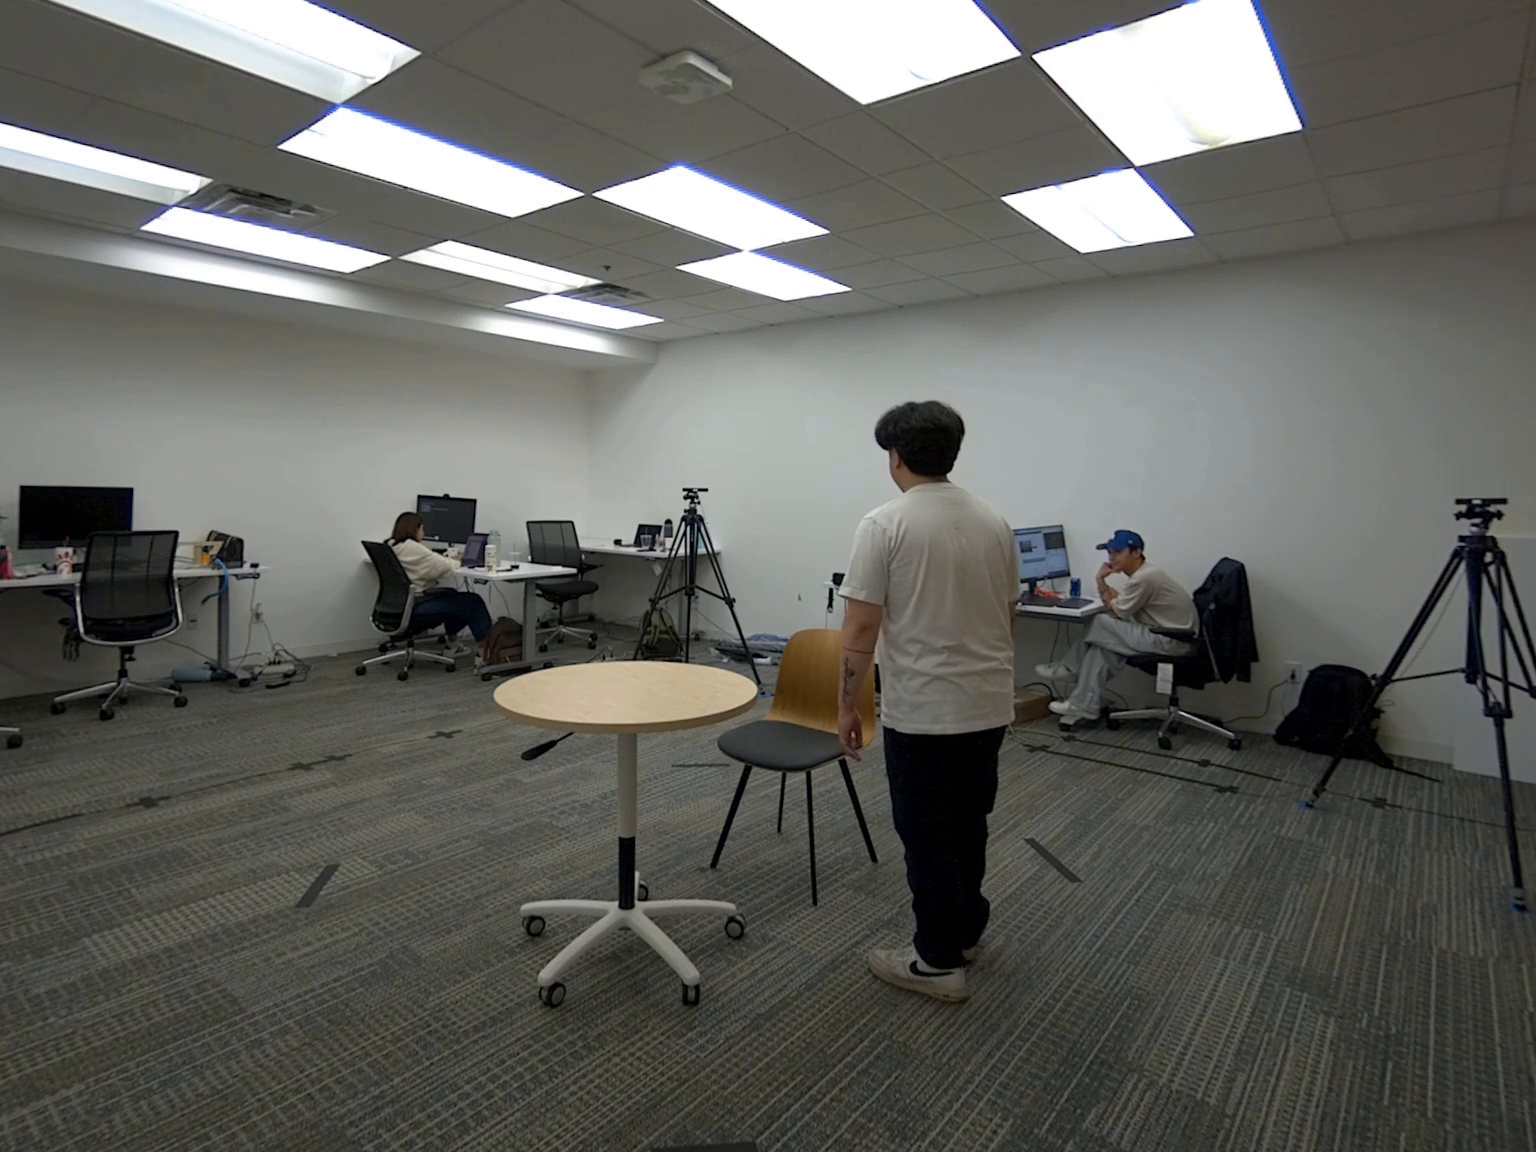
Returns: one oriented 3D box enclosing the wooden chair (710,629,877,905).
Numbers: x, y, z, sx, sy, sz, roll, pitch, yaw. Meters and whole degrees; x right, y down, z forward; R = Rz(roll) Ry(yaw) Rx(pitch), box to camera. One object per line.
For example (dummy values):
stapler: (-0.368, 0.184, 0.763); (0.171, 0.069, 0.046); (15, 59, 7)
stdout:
wooden chair: (0.097, 0.644, 3.130); (0.494, 0.878, 0.506); (4, 0, 36)
